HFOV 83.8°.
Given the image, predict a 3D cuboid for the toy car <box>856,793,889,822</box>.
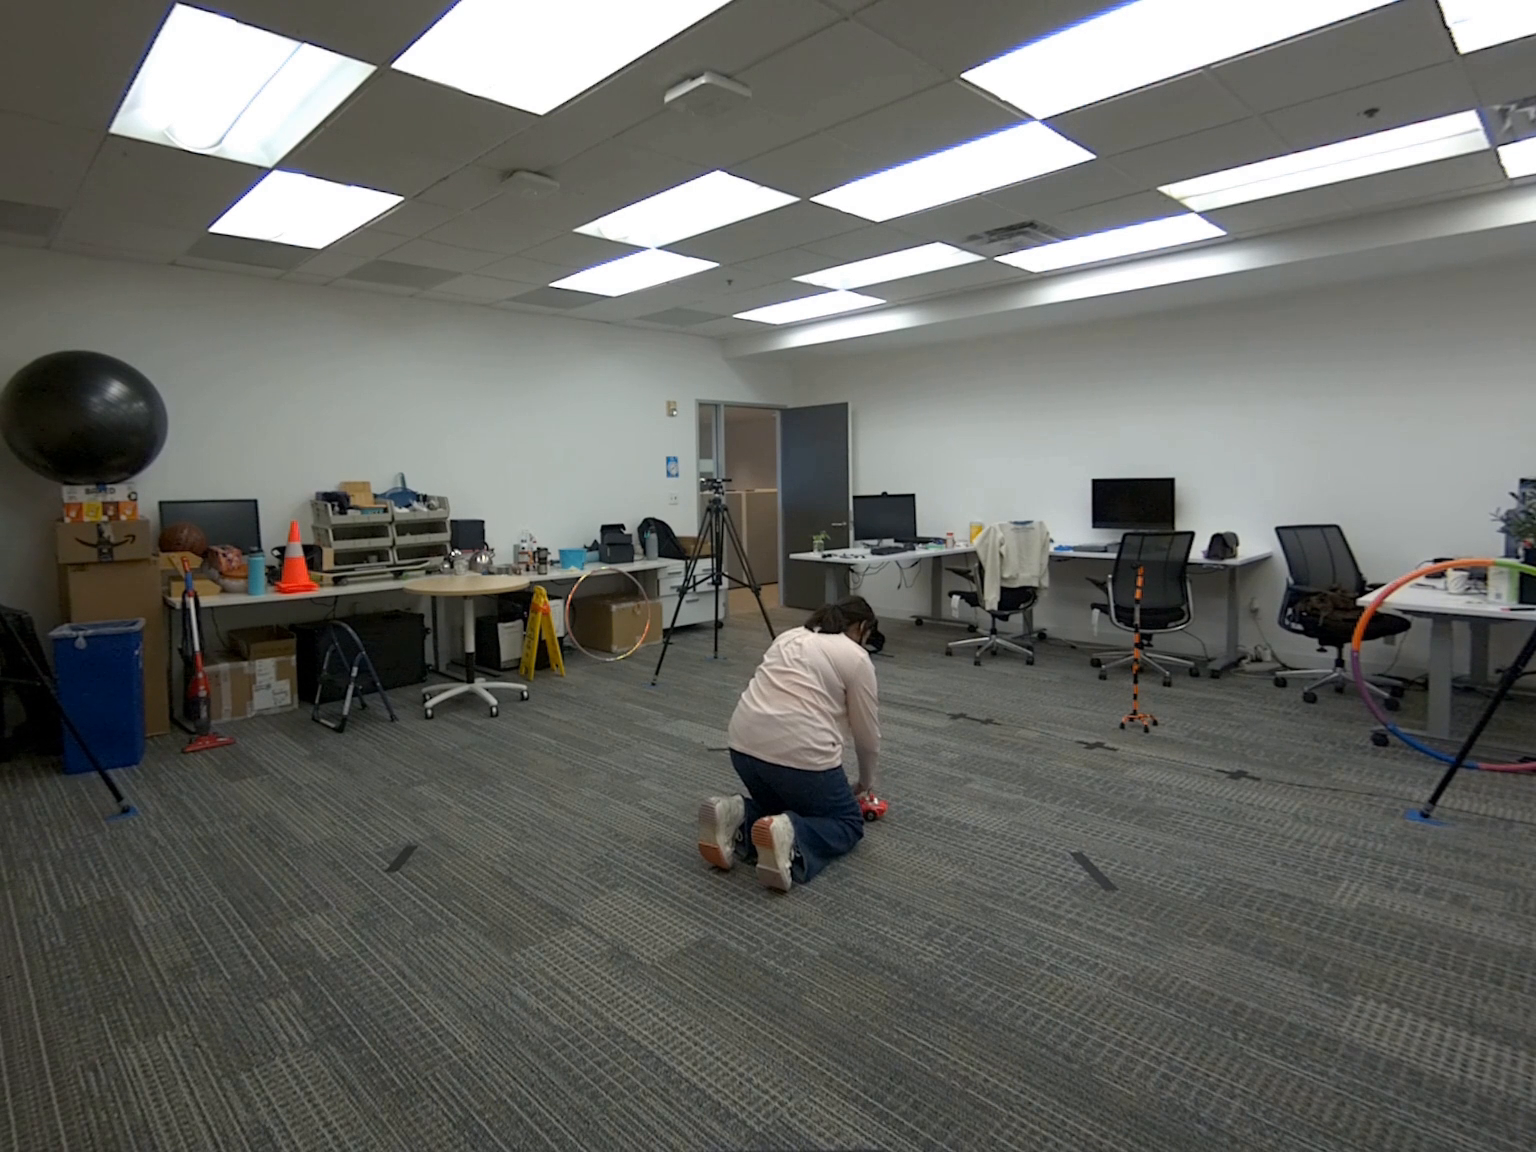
[{"bbox_3d":[0.371,0.956,3.523,0.255,0.083,0.130,-12,6,5],"label":"toy car"}]
